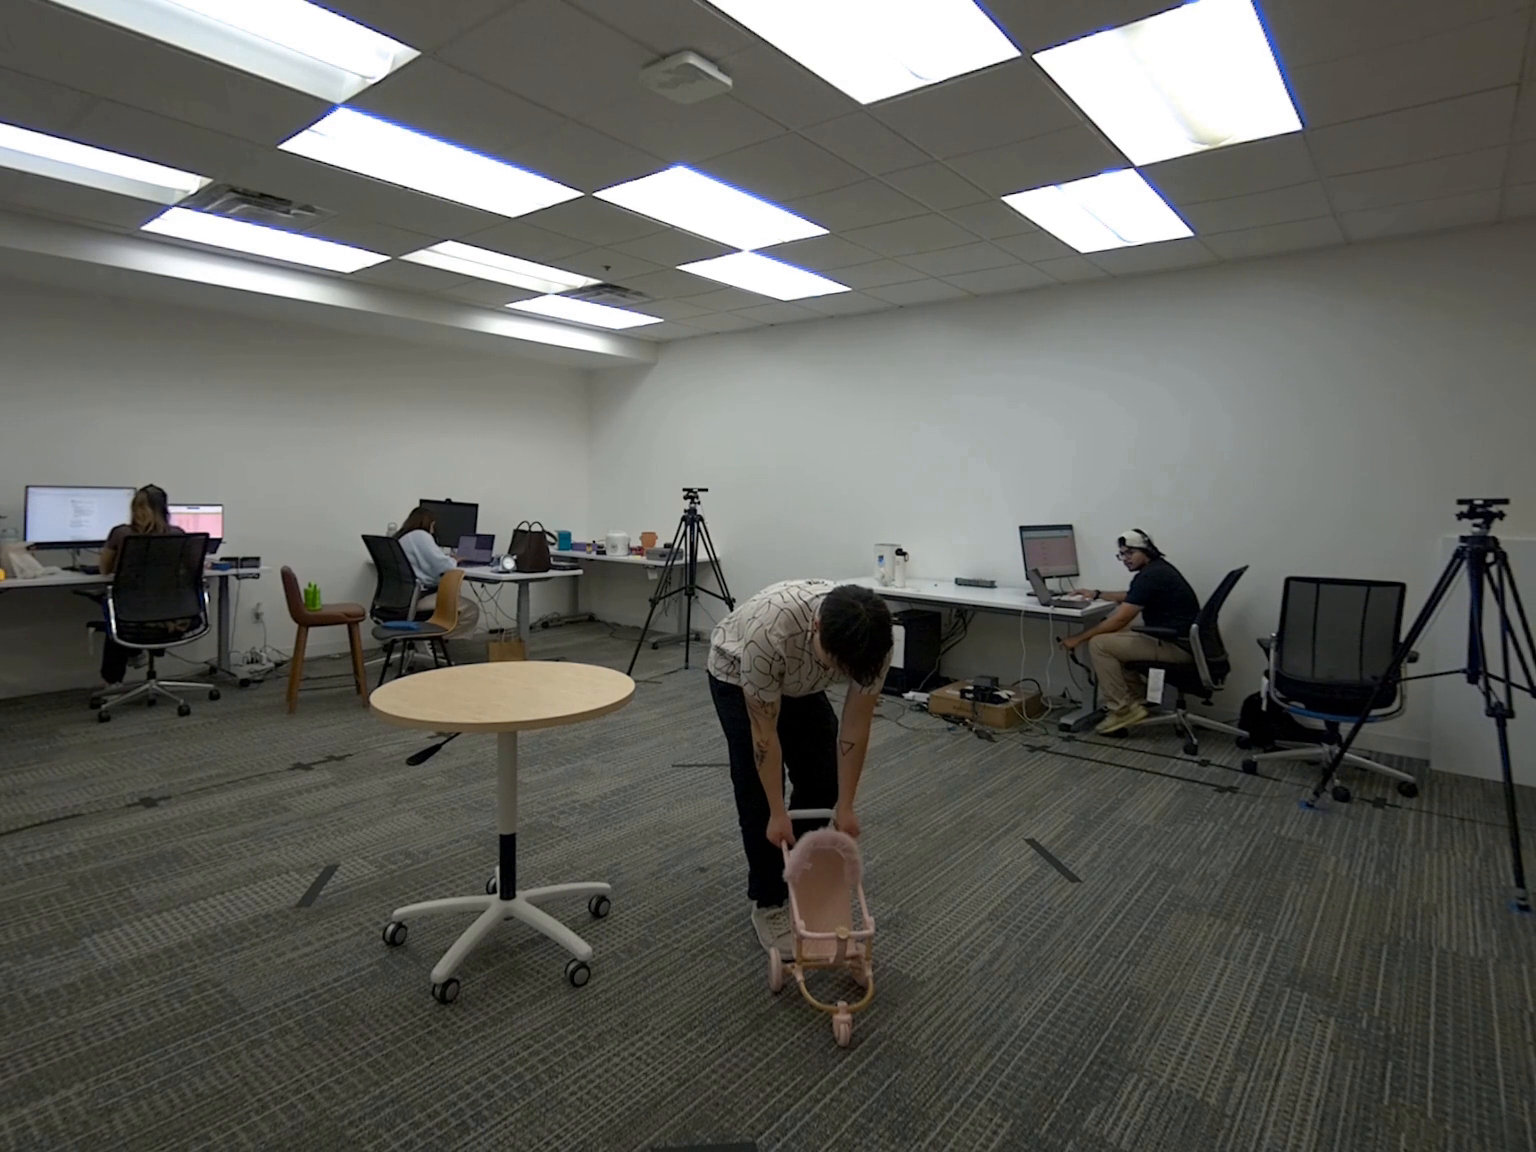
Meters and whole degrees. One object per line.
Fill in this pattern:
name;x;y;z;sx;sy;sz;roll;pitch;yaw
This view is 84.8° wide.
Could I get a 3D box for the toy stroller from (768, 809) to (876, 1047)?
toy stroller;0.154;0.926;2.313;0.280;0.541;0.339;1;-11;-6
